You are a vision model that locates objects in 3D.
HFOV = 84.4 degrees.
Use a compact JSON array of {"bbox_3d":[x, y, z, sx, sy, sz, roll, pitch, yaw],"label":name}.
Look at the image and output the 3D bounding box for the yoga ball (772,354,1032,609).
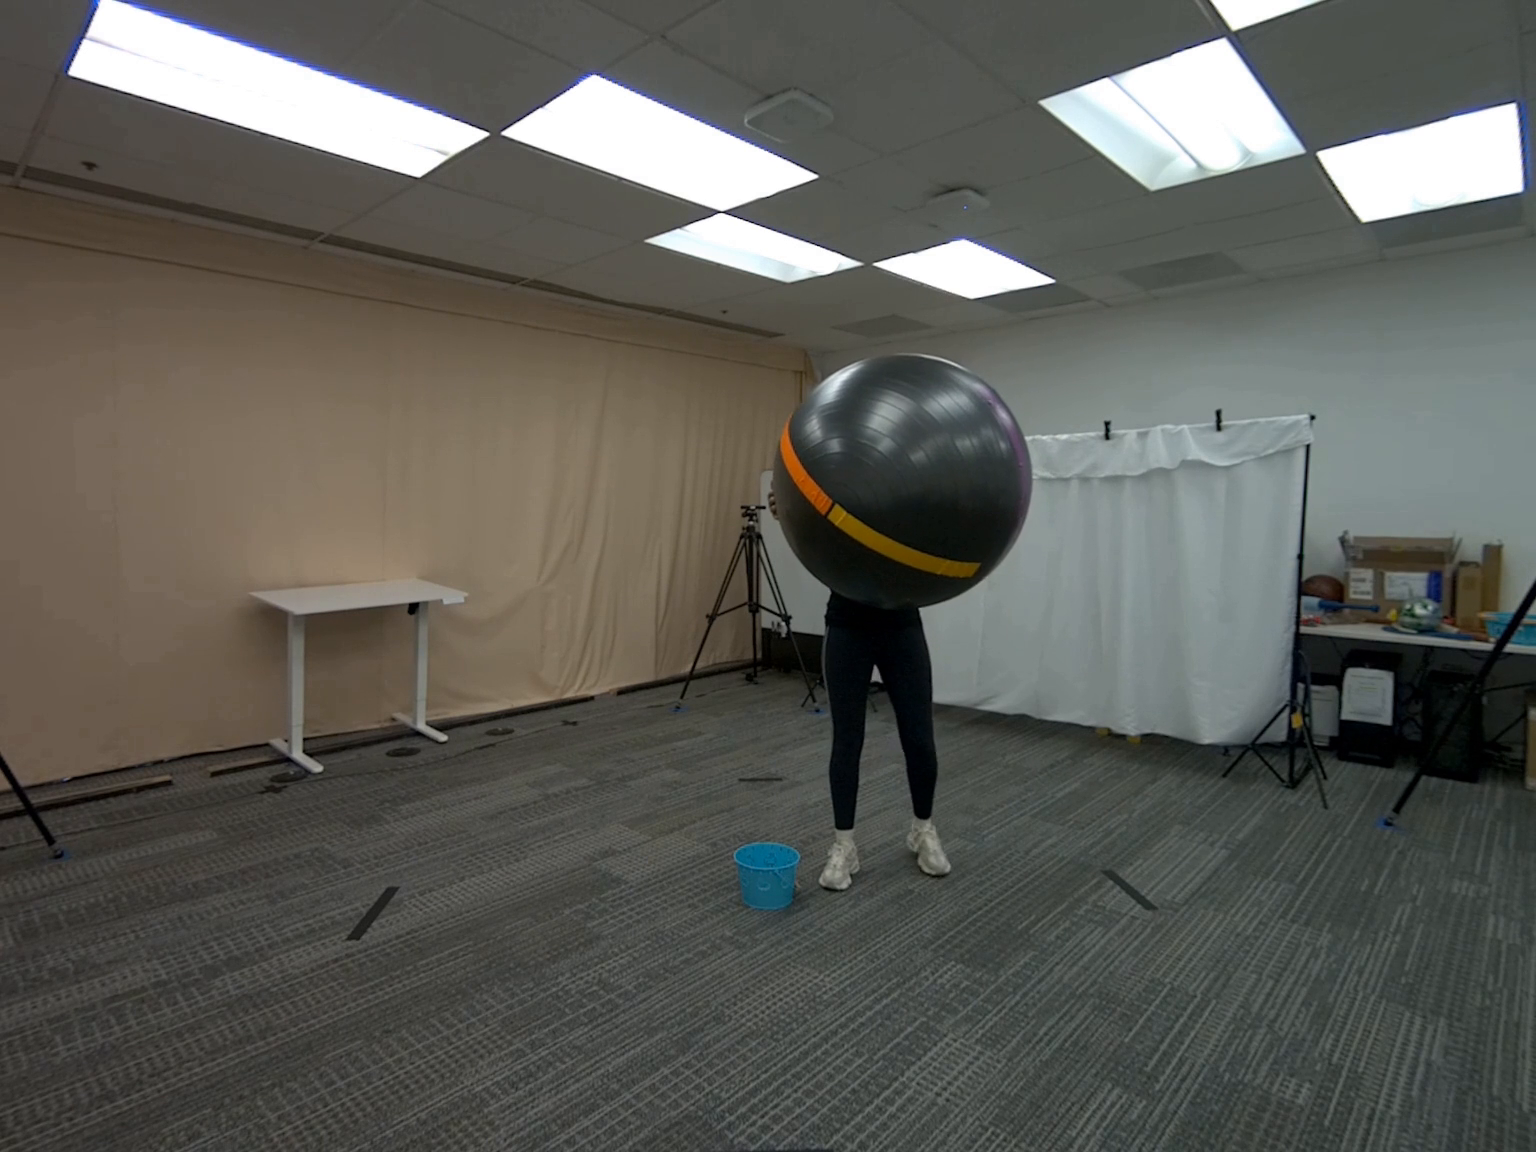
[{"bbox_3d":[0.409,-0.273,2.529,0.757,0.756,0.760,0,4,-2],"label":"yoga ball"}]
